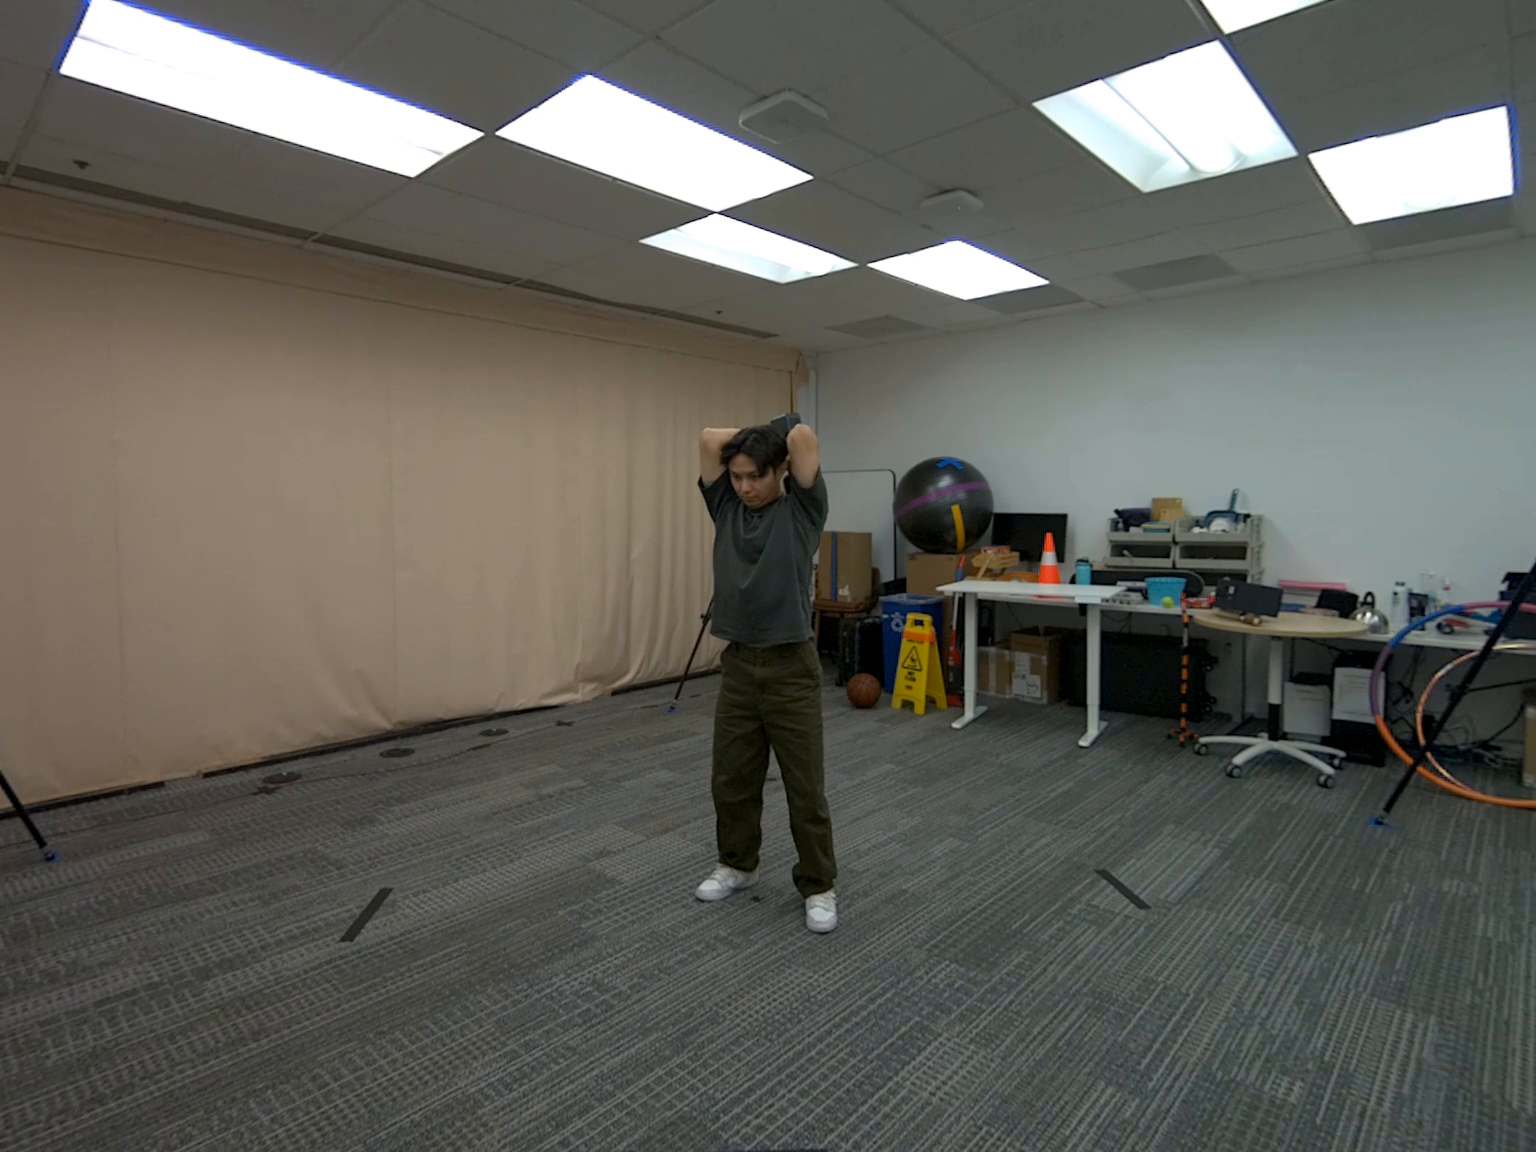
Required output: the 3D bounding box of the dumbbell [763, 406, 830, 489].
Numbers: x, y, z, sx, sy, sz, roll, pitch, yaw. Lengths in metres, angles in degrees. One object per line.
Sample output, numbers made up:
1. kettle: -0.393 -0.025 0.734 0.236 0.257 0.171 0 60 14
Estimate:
1. dumbbell: 0.097 -0.432 2.970 0.120 0.295 0.110 -10 -8 -28
